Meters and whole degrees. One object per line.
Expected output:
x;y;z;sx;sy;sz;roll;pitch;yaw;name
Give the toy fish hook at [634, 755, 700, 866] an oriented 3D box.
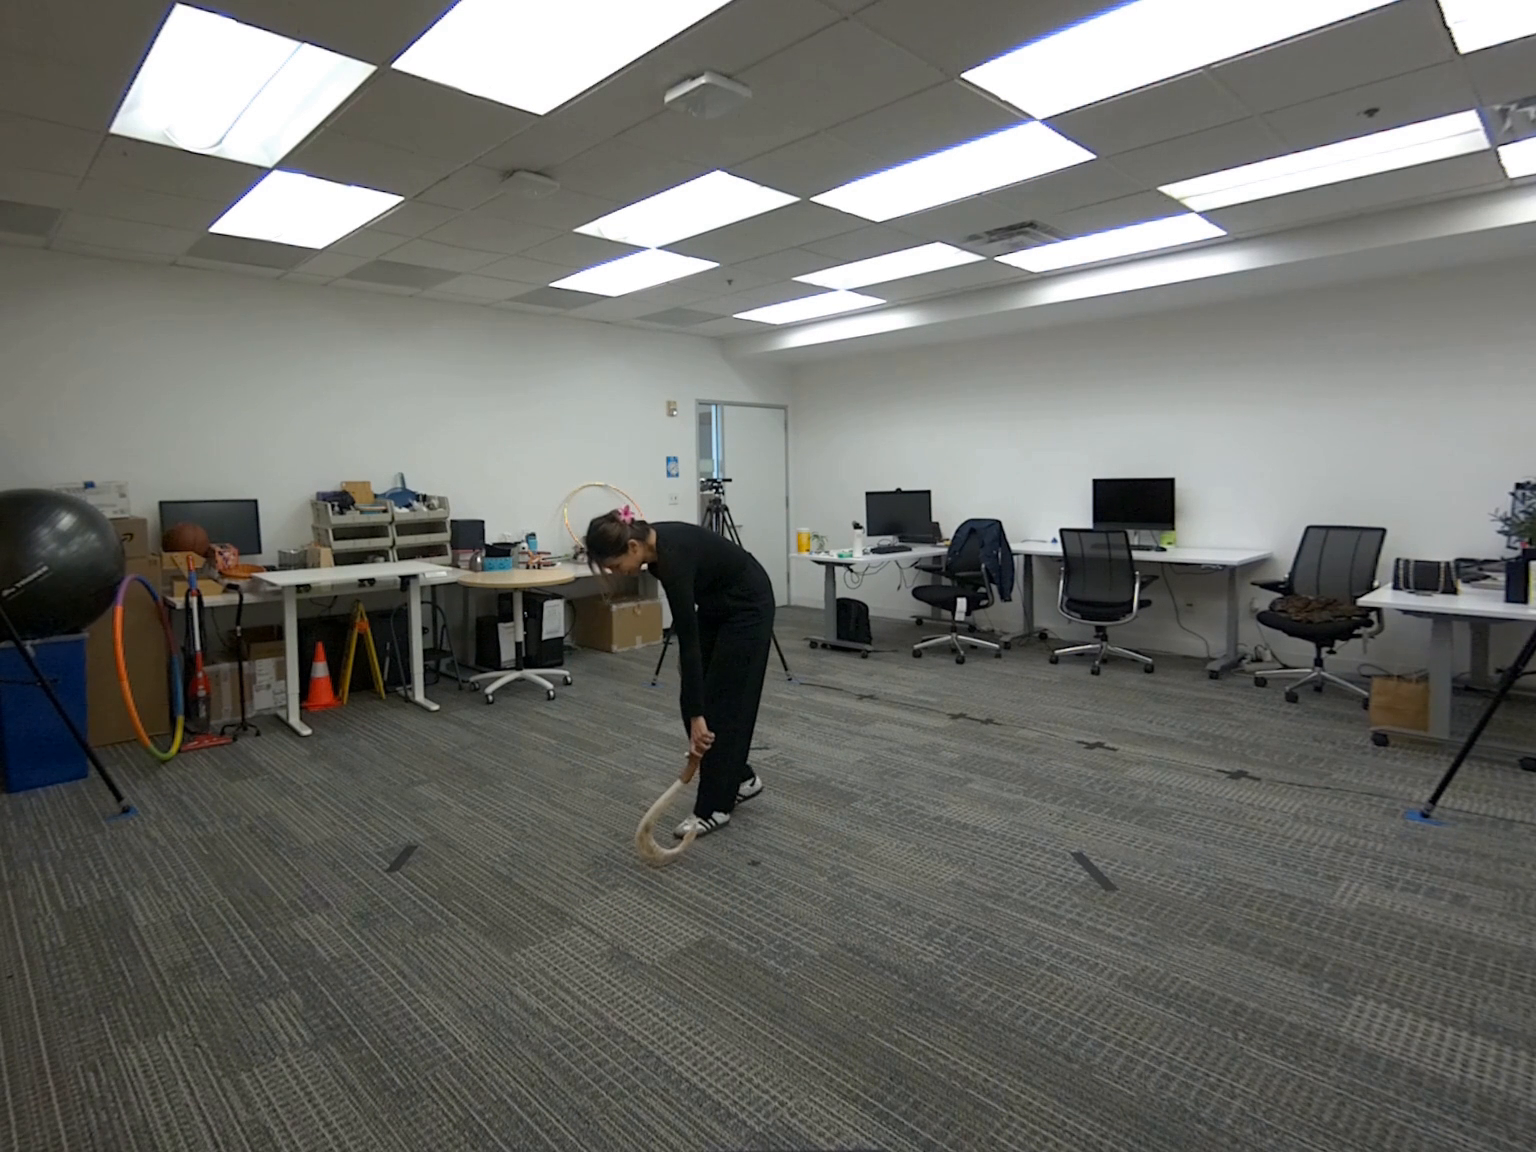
-0.305;0.812;3.107;0.217;0.507;0.050;32;-5;-27;toy fish hook
